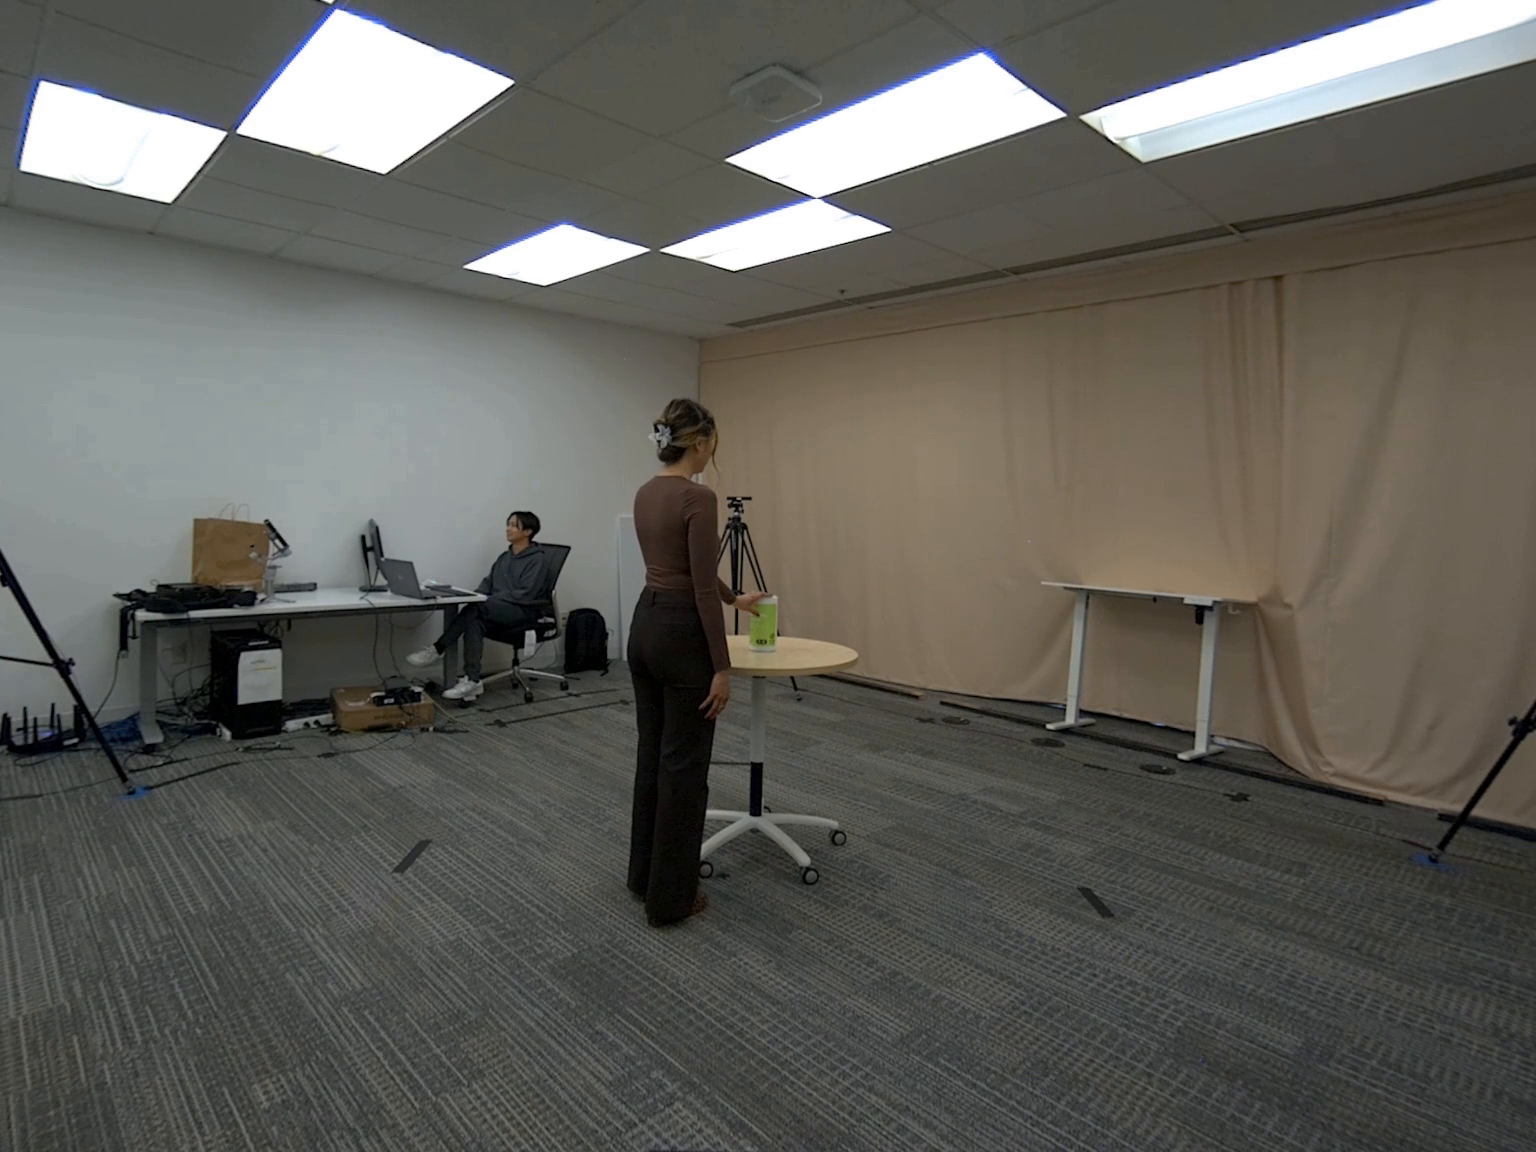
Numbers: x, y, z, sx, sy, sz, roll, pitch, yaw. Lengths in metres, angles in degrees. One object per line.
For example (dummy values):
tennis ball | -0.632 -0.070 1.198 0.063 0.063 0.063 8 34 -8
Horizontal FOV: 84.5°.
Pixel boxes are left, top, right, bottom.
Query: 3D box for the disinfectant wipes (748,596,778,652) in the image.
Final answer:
disinfectant wipes | -0.025 0.186 3.323 0.118 0.217 0.118 -1 4 -1
